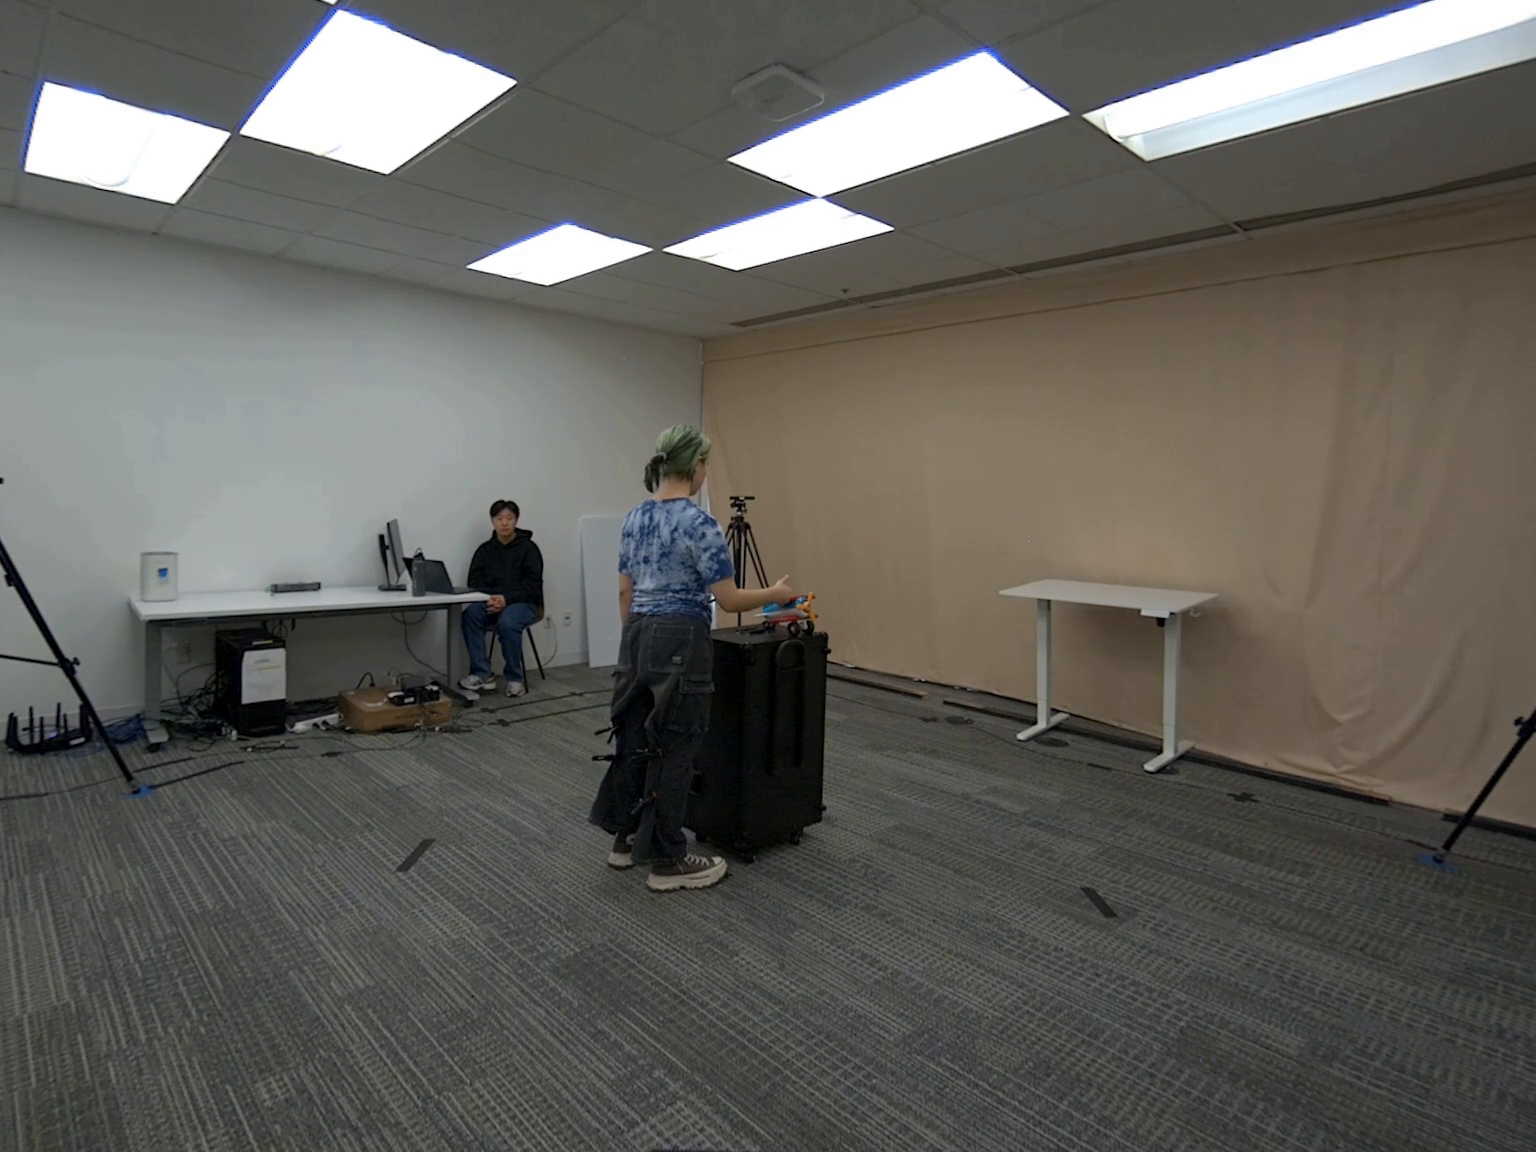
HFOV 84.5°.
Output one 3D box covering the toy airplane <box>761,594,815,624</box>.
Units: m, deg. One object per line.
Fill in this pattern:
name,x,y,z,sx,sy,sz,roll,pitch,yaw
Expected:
toy airplane,0.045,0.153,3.435,0.263,0.156,0.248,4,6,16
